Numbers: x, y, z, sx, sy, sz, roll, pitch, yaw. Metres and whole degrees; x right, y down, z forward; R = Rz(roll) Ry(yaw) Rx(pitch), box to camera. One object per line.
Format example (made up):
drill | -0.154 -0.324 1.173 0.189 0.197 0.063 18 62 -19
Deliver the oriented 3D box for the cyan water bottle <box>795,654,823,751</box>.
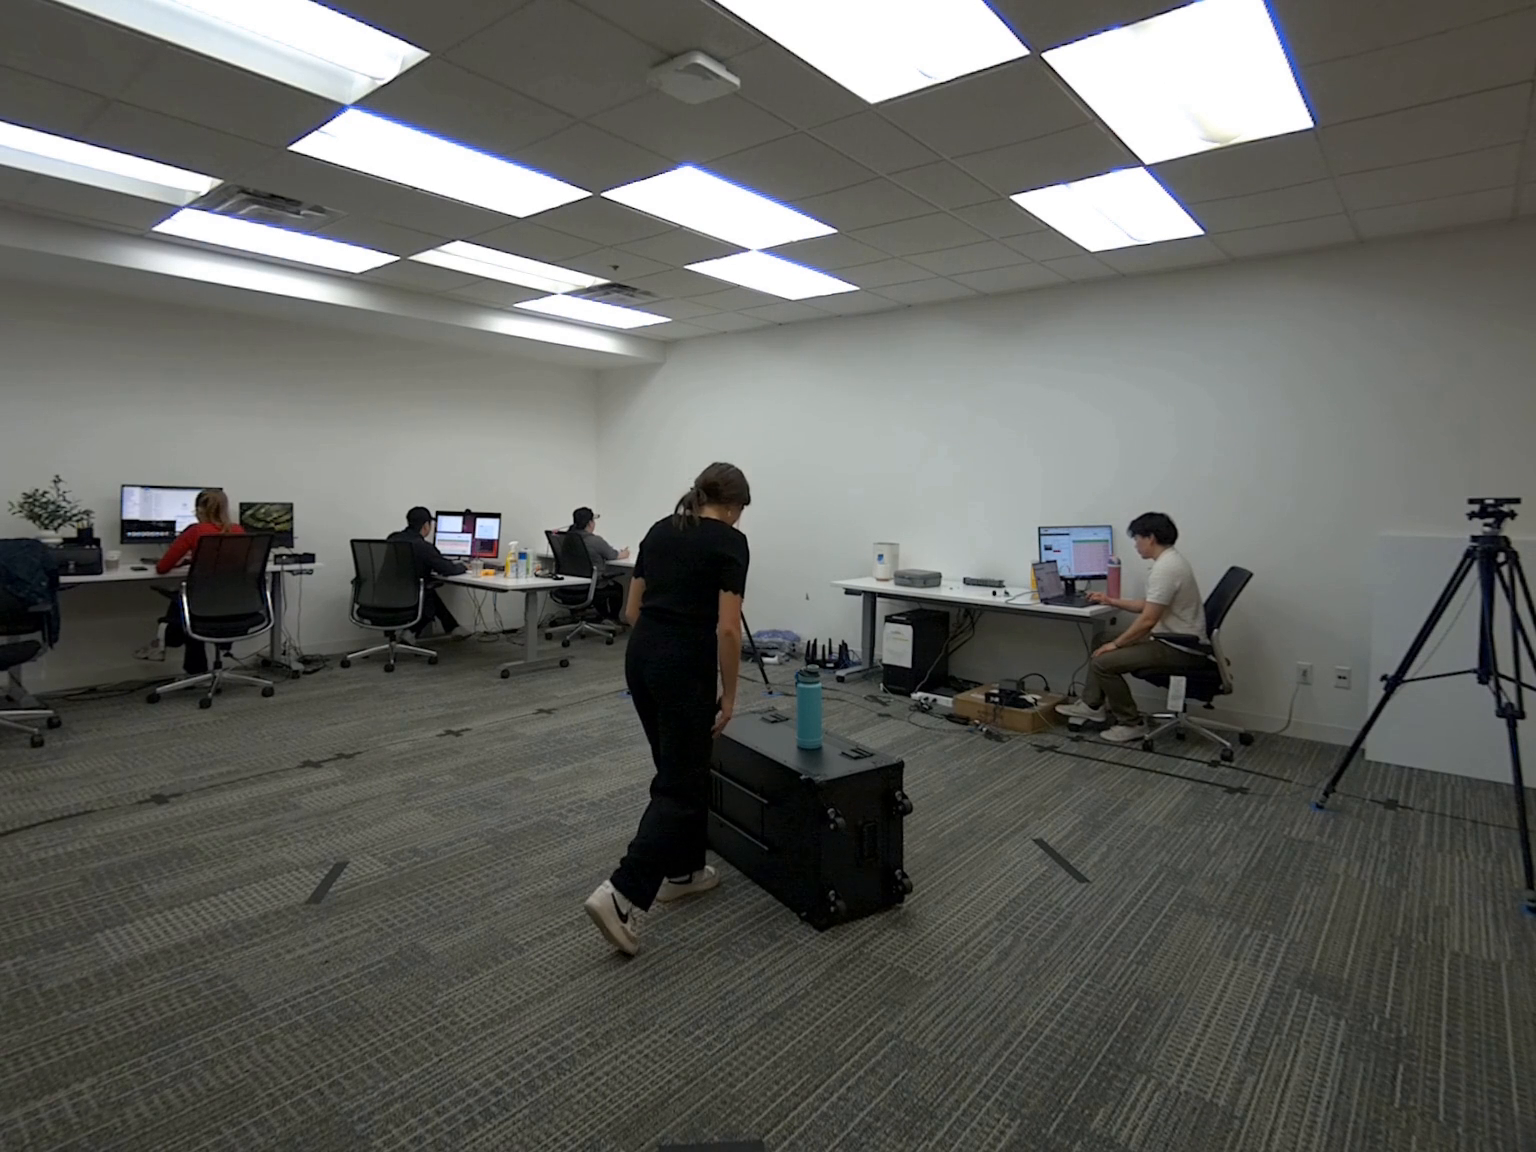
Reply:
cyan water bottle | 0.137 0.456 2.993 0.092 0.283 0.093 0 3 -2
